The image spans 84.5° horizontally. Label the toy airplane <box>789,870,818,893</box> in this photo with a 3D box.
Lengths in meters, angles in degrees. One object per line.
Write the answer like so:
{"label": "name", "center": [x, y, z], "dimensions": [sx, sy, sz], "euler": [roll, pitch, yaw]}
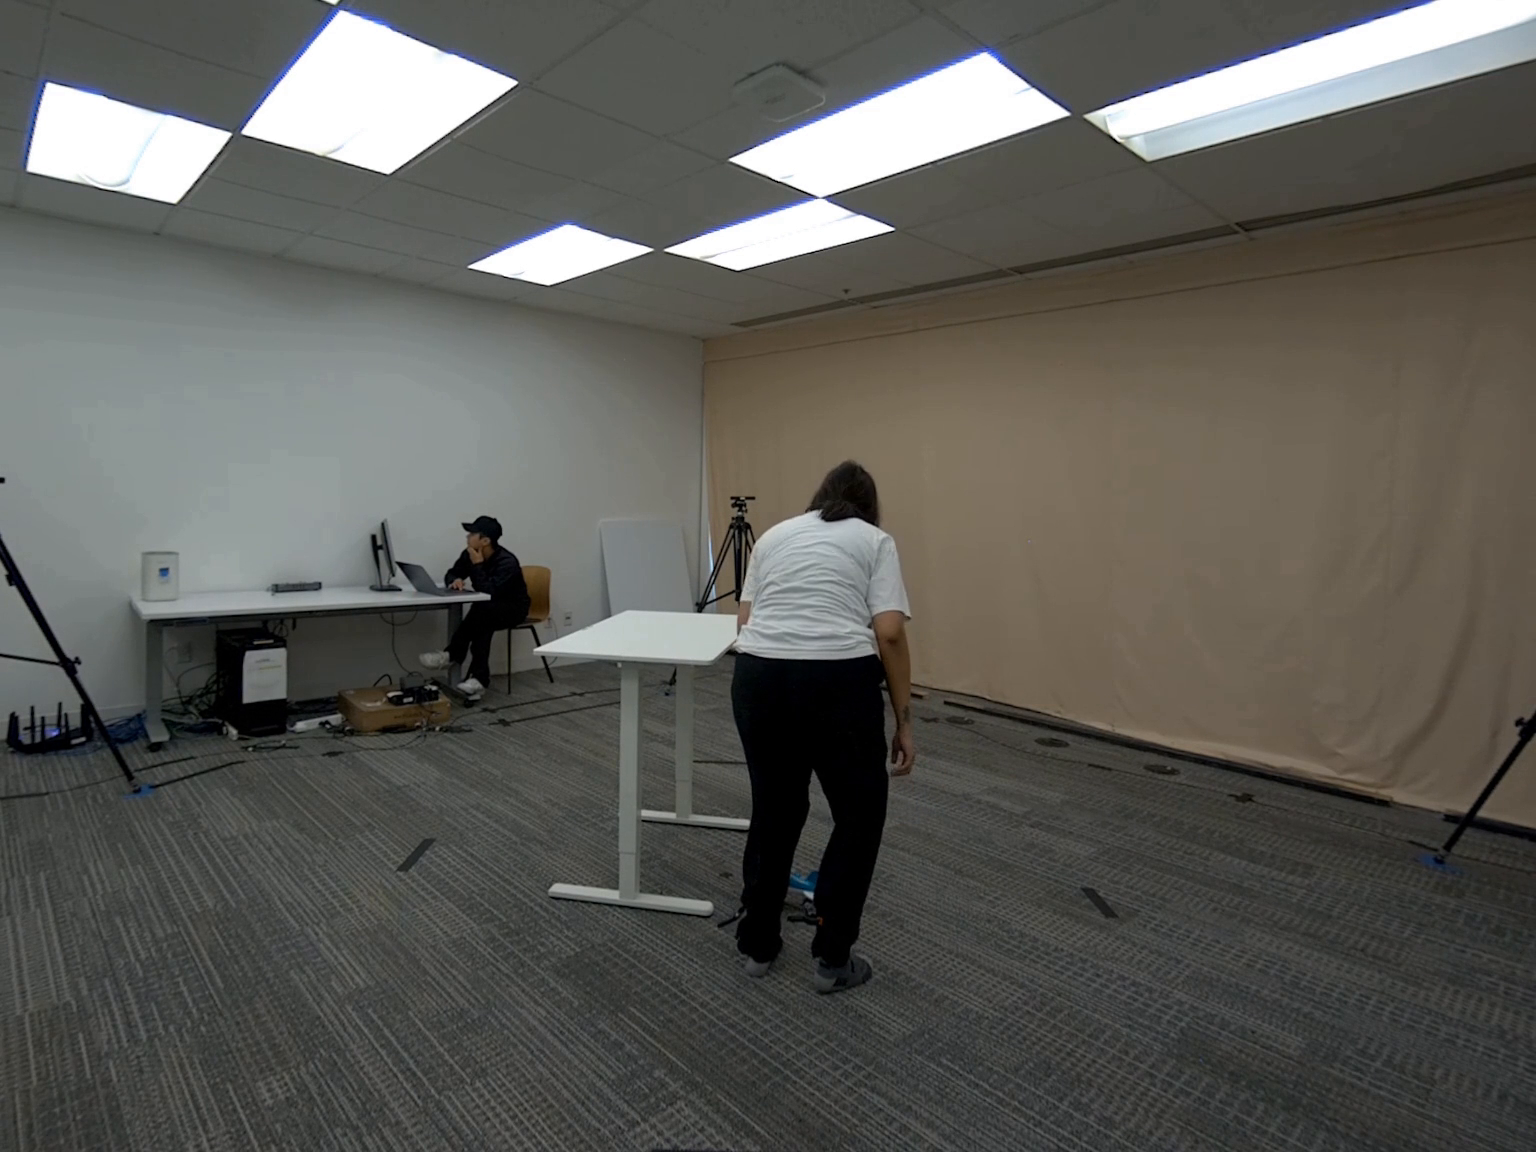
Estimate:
{"label": "toy airplane", "center": [0.035, 1.065, 2.902], "dimensions": [0.254, 0.156, 0.257], "euler": [0, 6, -26]}
